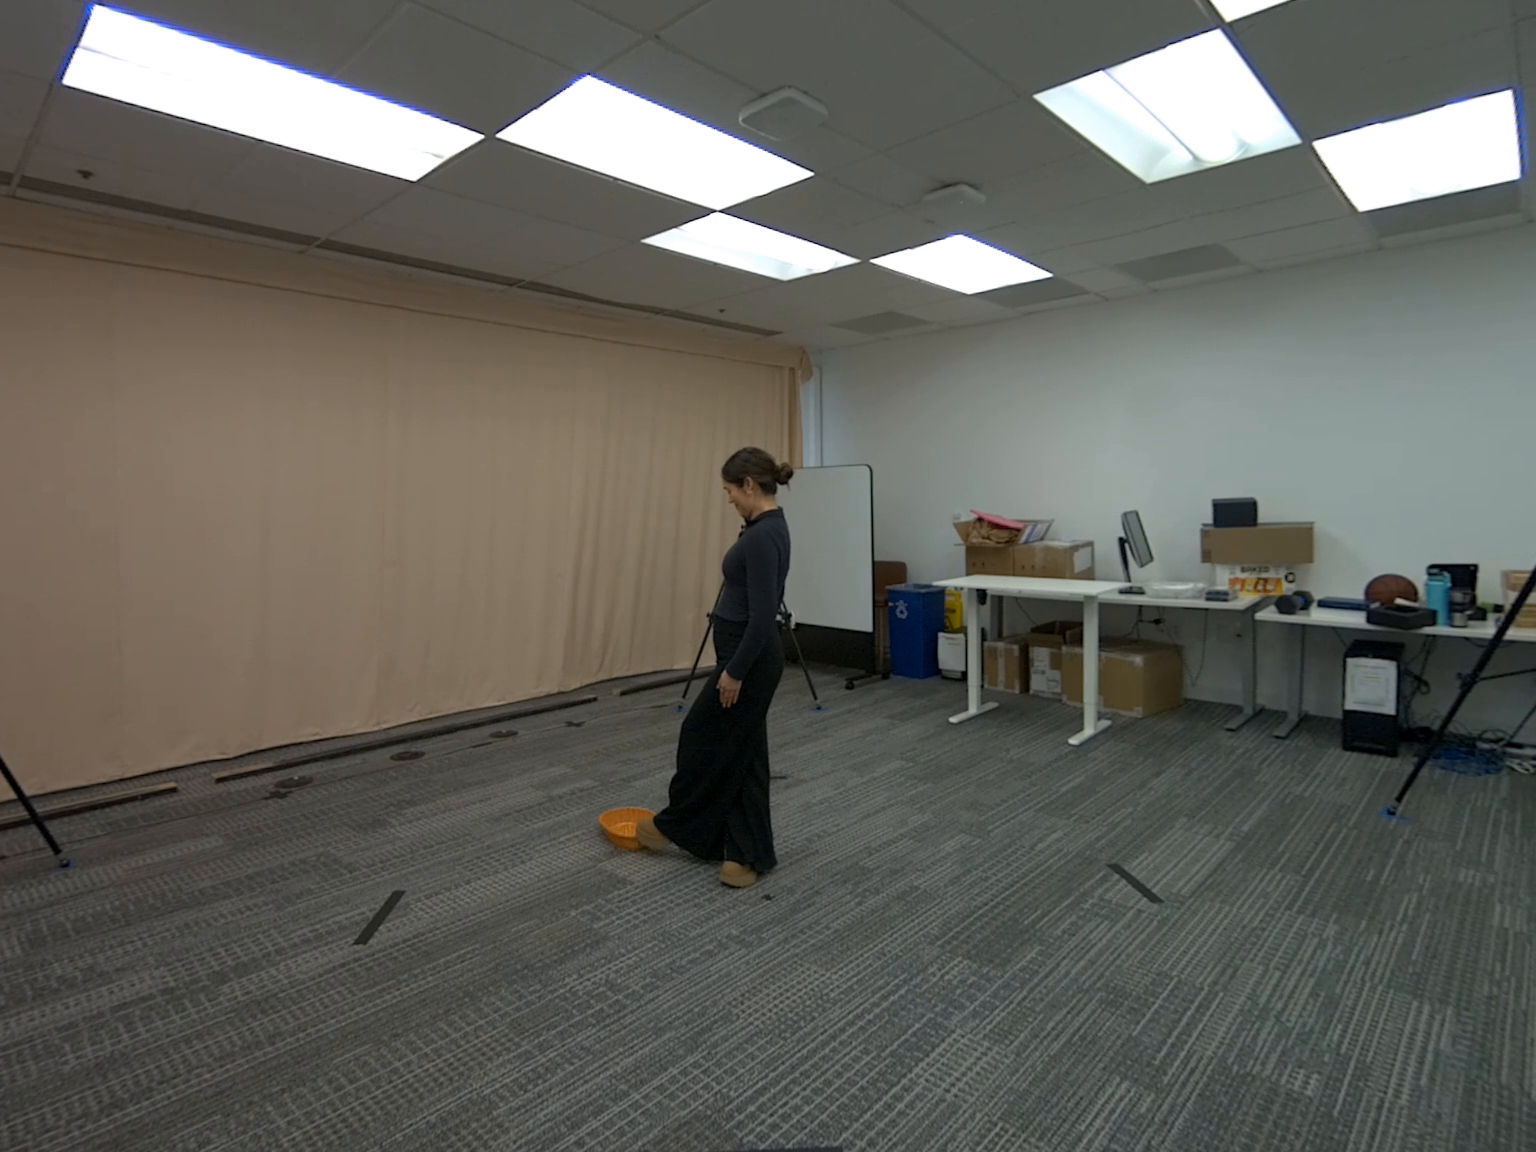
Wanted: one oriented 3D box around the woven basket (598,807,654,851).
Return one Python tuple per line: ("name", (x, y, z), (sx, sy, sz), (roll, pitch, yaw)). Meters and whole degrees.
("woven basket", (-0.577, 1.063, 3.551), (0.246, 0.073, 0.360), (-2, 5, -27))
